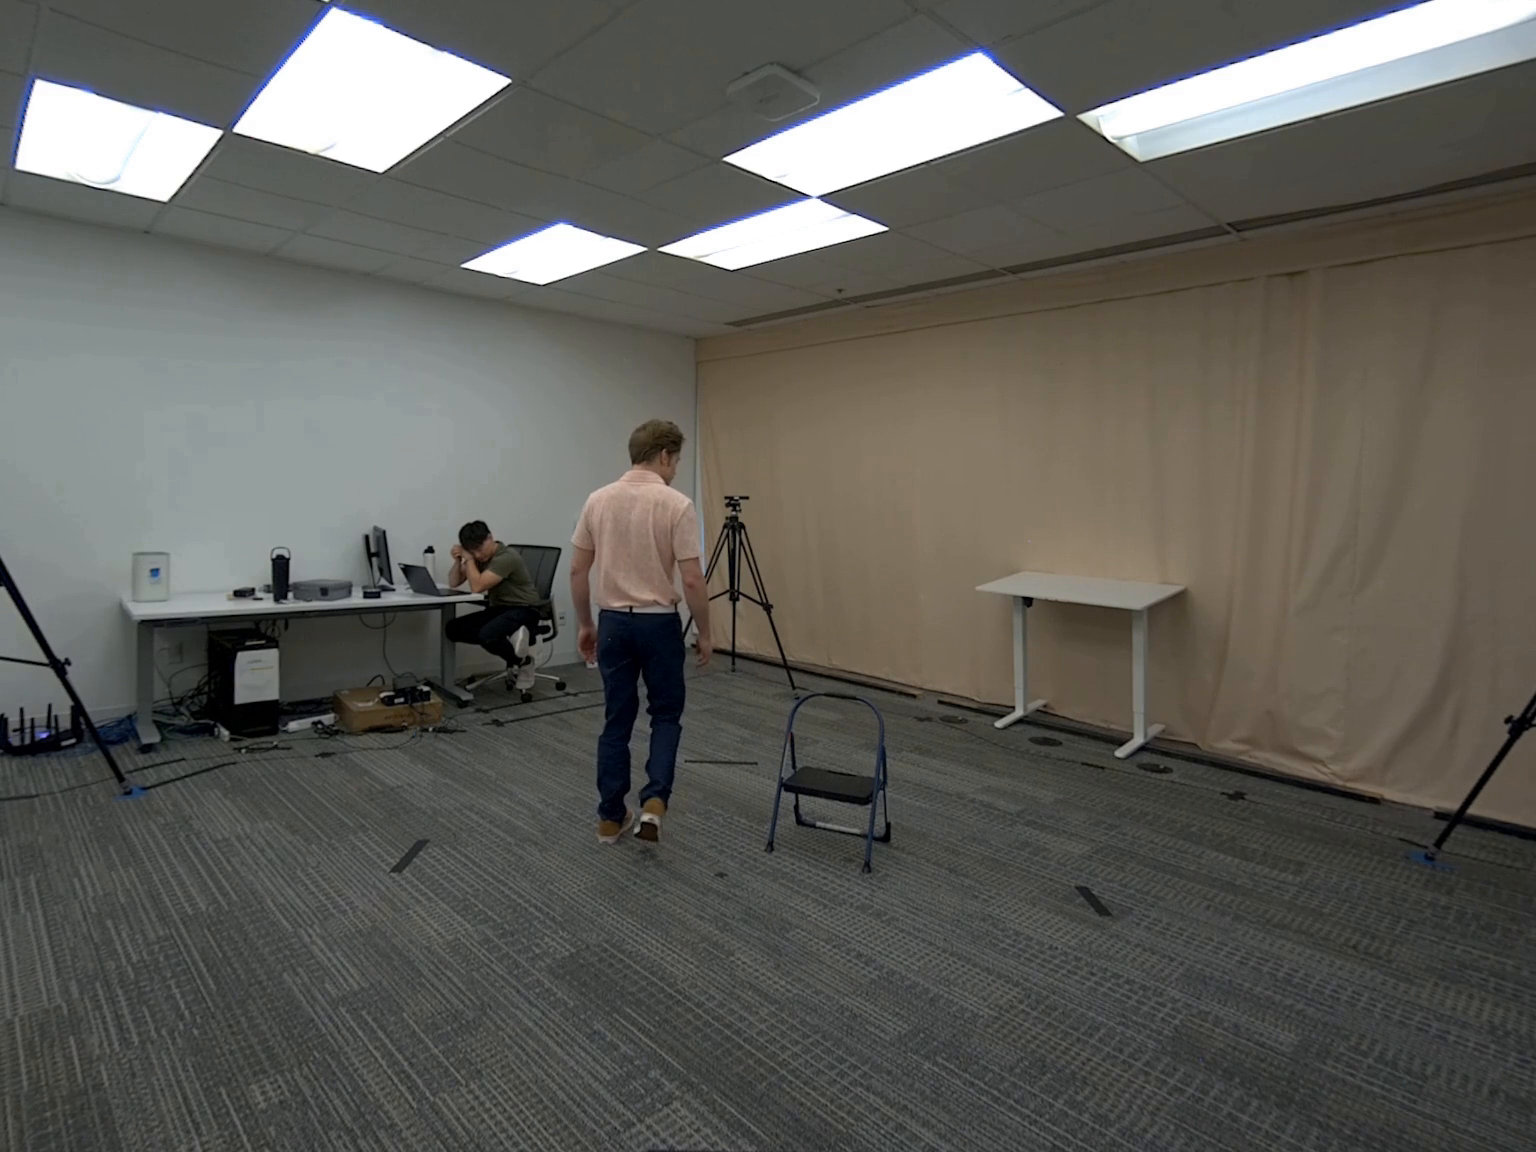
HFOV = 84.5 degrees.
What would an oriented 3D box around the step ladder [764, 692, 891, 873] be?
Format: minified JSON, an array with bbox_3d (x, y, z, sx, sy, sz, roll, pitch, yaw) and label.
[{"bbox_3d":[0.251,0.788,3.376,0.439,0.604,0.344,3,4,24],"label":"step ladder"}]
